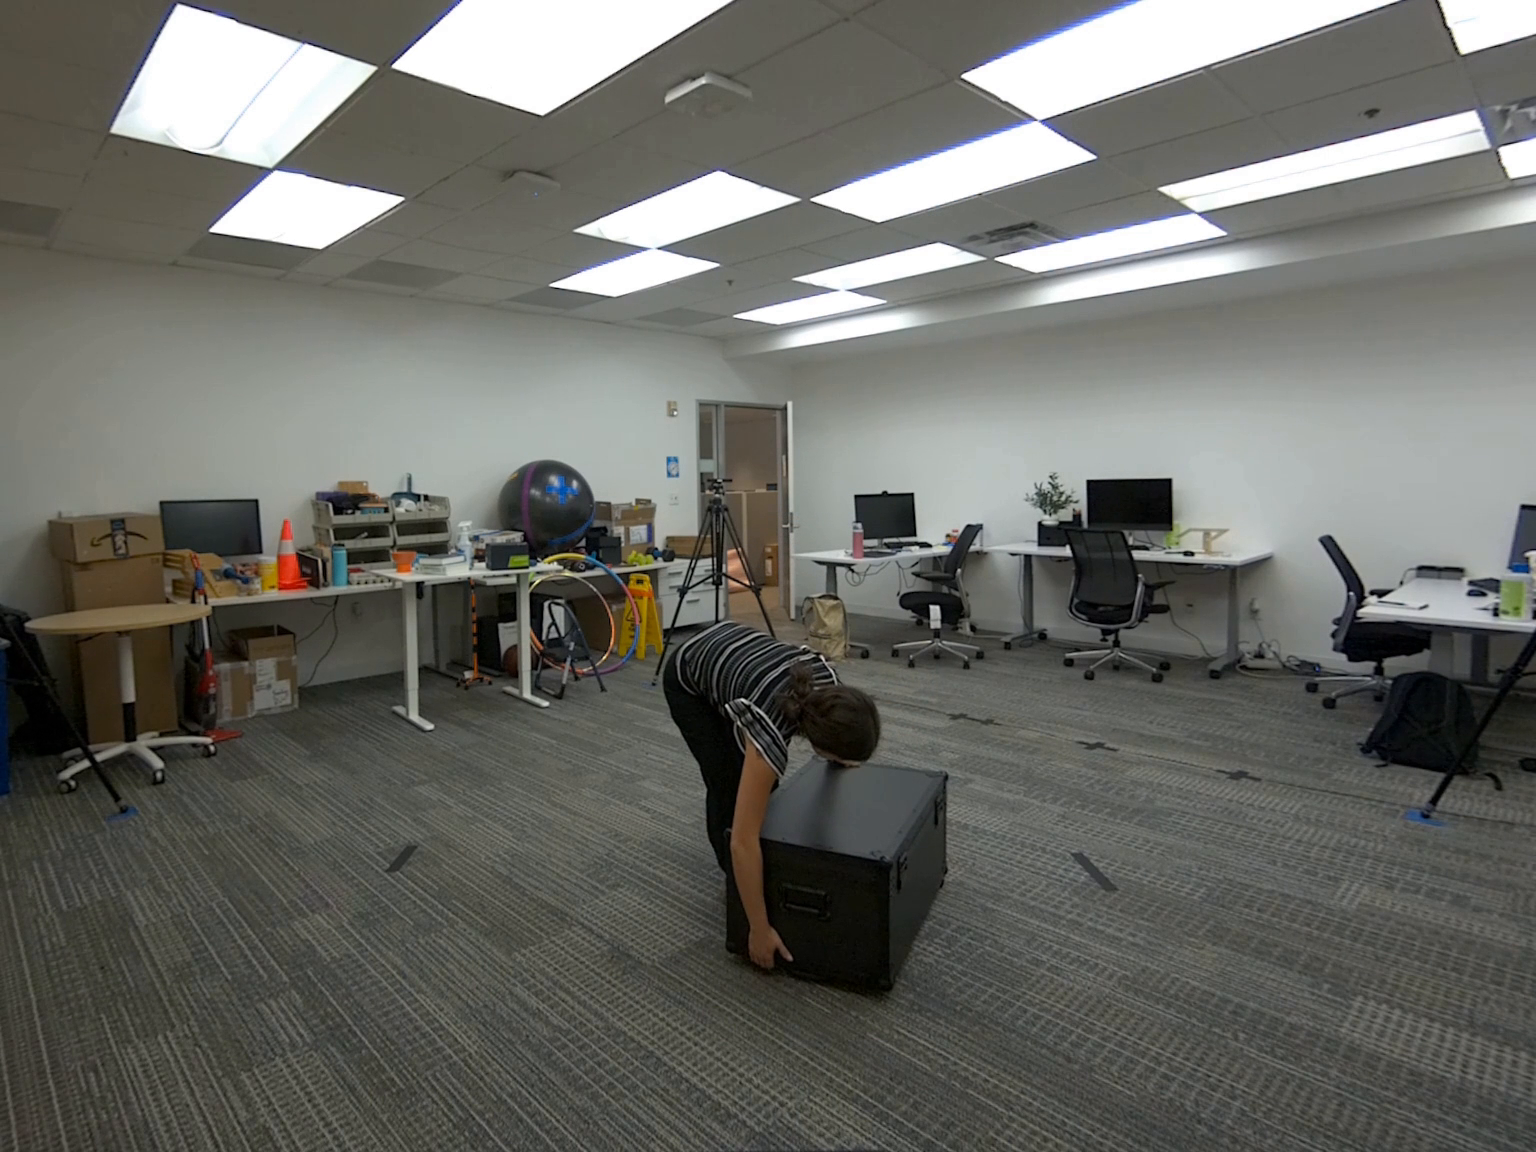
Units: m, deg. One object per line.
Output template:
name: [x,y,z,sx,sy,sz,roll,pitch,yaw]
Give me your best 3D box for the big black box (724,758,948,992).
big black box: [0.263,0.888,2.735,0.532,0.394,0.847,2,6,21]
